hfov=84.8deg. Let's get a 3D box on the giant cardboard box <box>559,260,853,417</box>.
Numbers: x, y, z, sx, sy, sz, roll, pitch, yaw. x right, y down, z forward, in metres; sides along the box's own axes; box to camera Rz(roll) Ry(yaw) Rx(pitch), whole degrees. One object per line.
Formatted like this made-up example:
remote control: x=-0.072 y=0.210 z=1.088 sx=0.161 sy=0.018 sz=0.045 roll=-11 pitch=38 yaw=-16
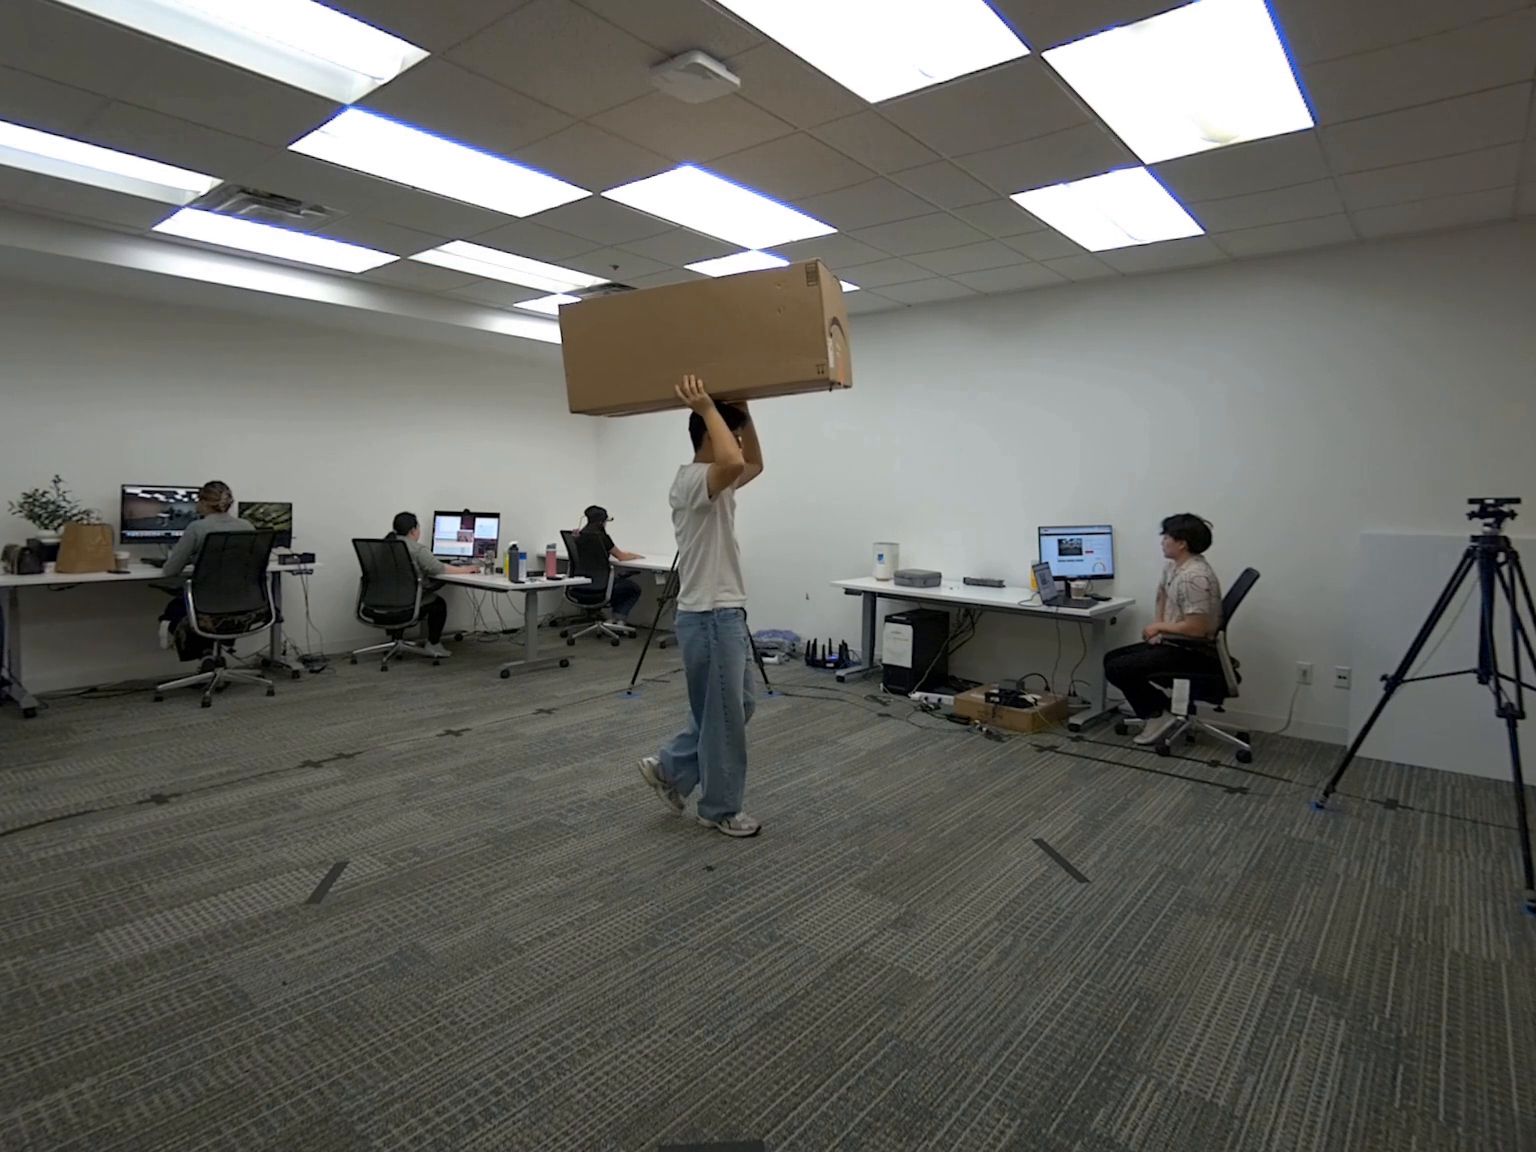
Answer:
giant cardboard box: x=-0.241 y=-0.915 z=3.394 sx=1.043 sy=0.424 sz=0.572 roll=-4 pitch=7 yaw=16
